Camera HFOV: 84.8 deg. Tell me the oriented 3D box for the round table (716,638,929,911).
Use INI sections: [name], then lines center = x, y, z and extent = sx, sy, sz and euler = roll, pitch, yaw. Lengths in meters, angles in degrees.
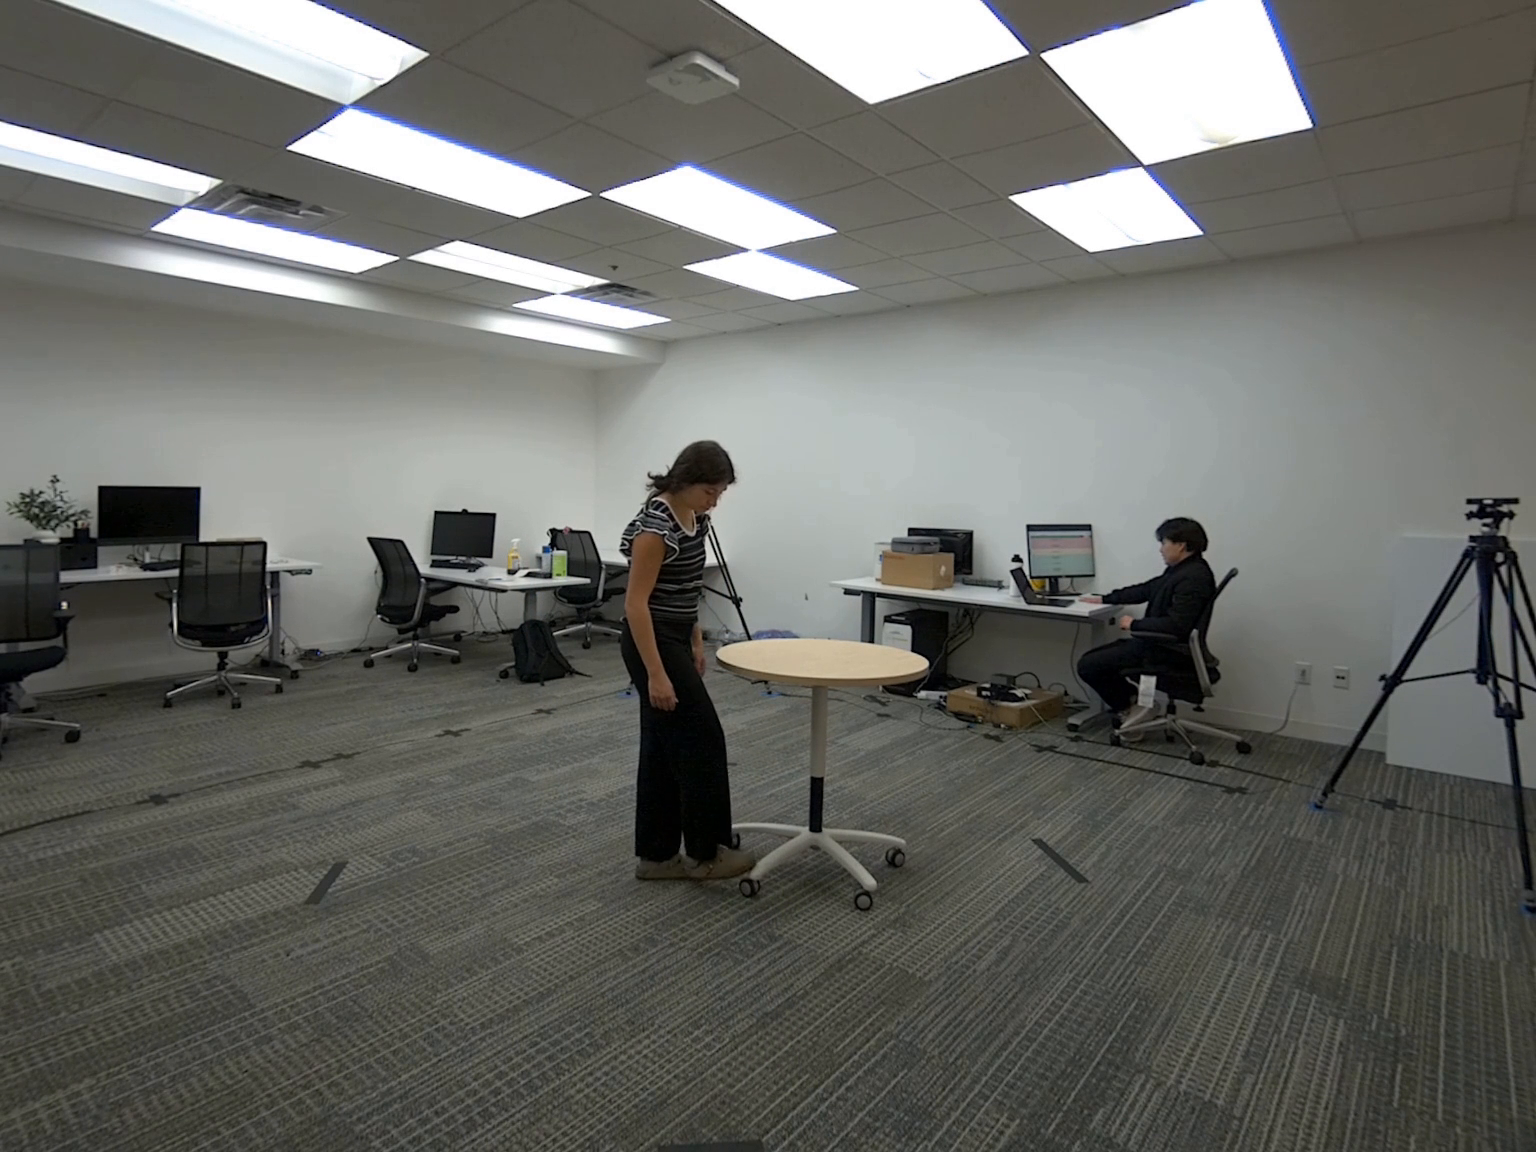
[round table]
center = 0.176, 0.684, 3.101
extent = 0.784, 0.784, 0.788
euler = 1, 4, -2
